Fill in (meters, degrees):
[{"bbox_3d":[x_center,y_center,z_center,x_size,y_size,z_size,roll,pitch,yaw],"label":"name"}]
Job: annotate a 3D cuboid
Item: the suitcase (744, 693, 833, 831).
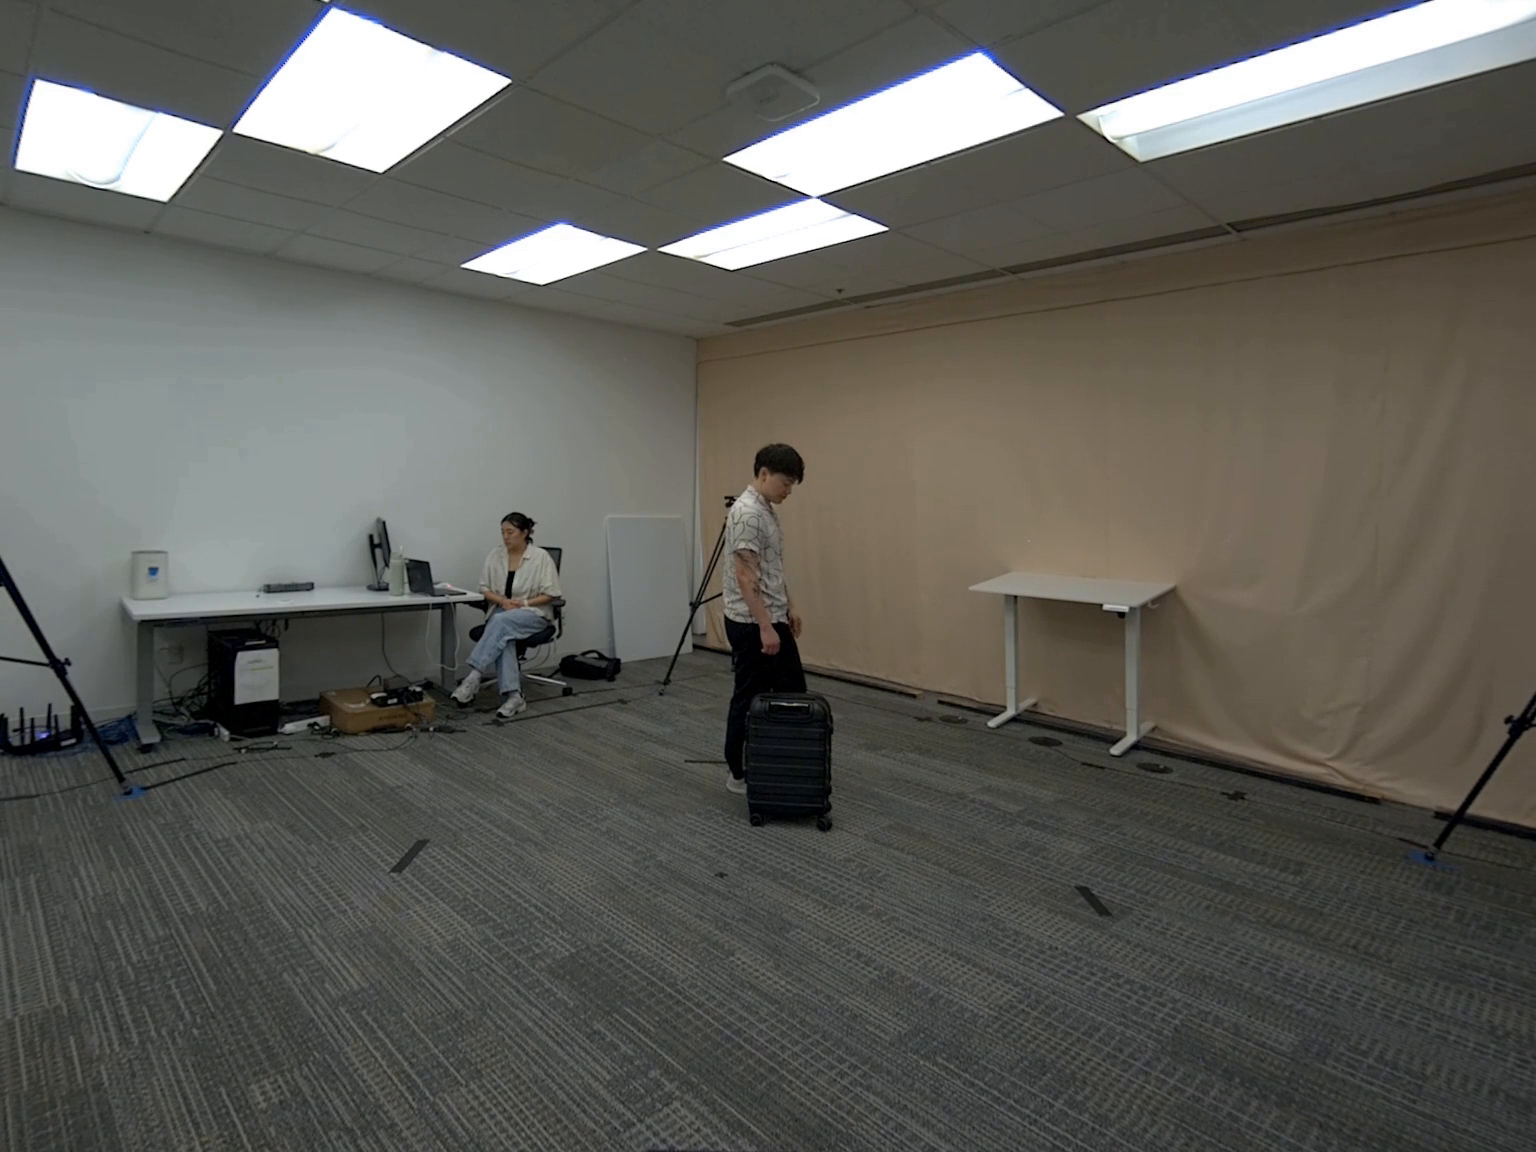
[{"bbox_3d":[0.081,0.785,3.680,0.377,0.548,0.248,1,2,5],"label":"suitcase"}]
